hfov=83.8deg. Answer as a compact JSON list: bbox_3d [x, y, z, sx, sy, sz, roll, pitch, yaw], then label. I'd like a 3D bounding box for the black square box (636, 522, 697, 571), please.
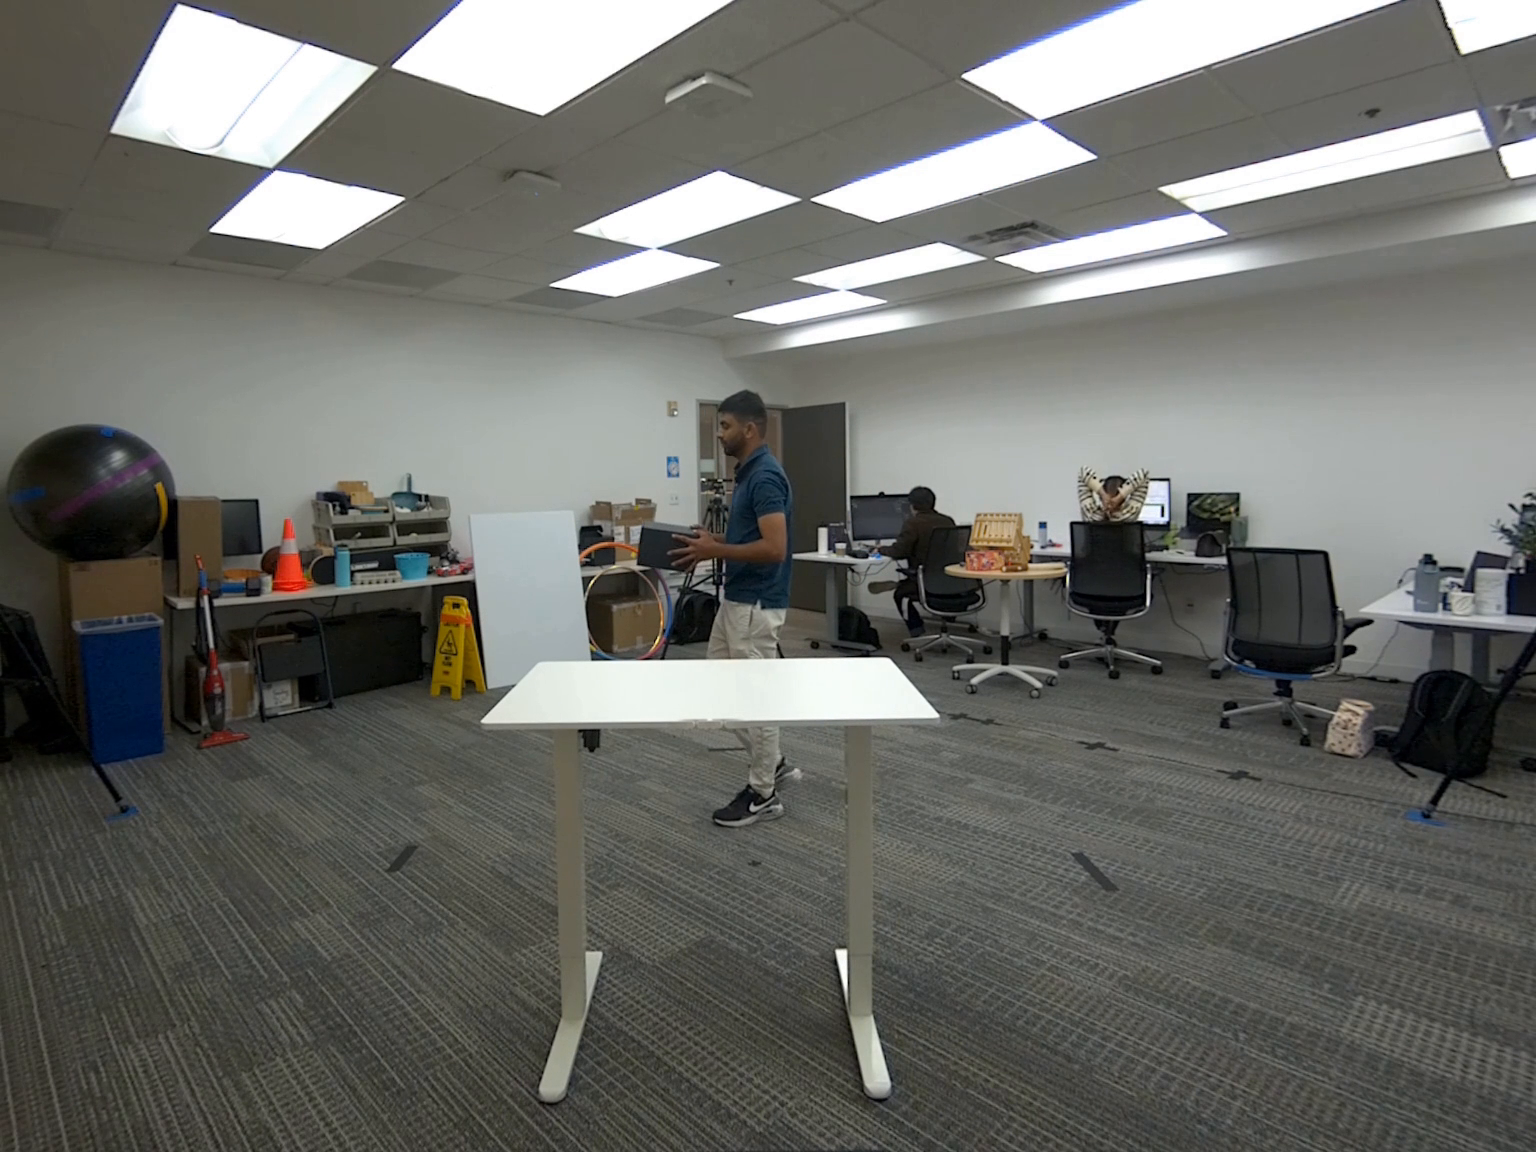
[{"bbox_3d":[-0.401,-0.123,3.460,0.227,0.155,0.219,5,8,-5],"label":"black square box"}]
